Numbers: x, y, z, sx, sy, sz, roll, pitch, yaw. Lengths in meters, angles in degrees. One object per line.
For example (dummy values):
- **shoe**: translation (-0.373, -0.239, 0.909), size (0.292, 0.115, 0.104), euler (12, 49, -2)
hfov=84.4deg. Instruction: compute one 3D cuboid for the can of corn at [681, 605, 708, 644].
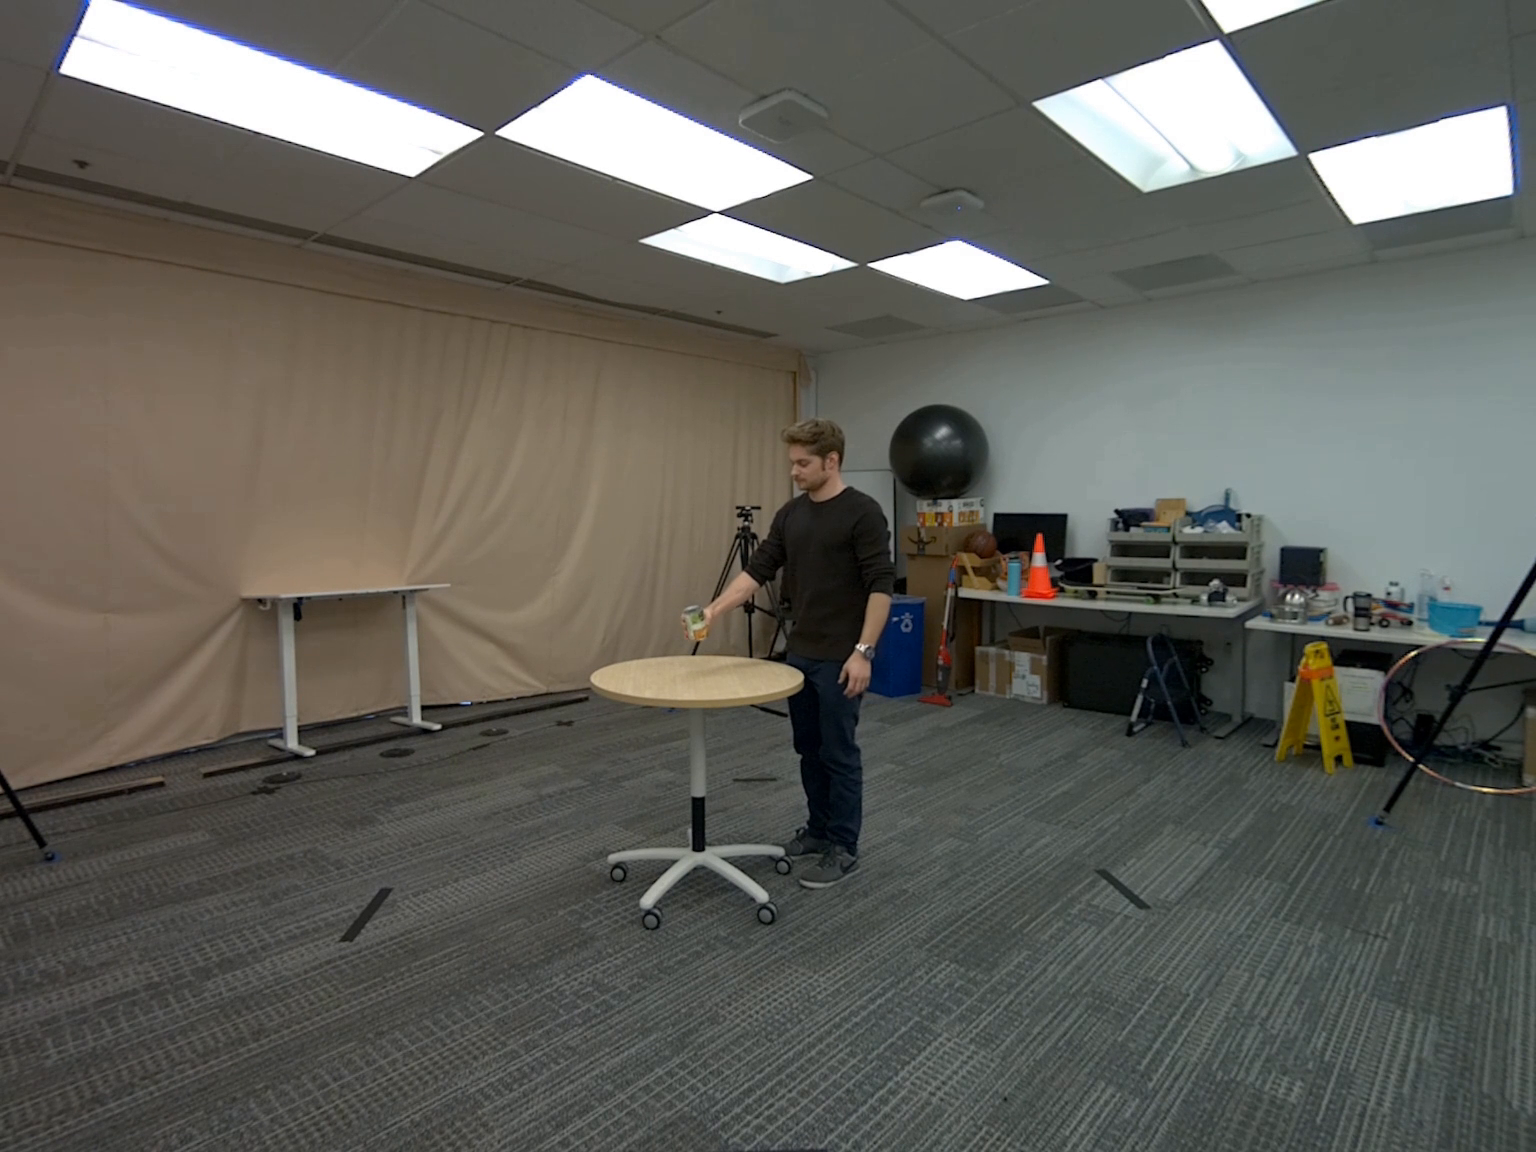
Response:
- **can of corn**: translation (-0.256, 0.179, 3.071), size (0.074, 0.111, 0.074), euler (-12, 4, -1)
